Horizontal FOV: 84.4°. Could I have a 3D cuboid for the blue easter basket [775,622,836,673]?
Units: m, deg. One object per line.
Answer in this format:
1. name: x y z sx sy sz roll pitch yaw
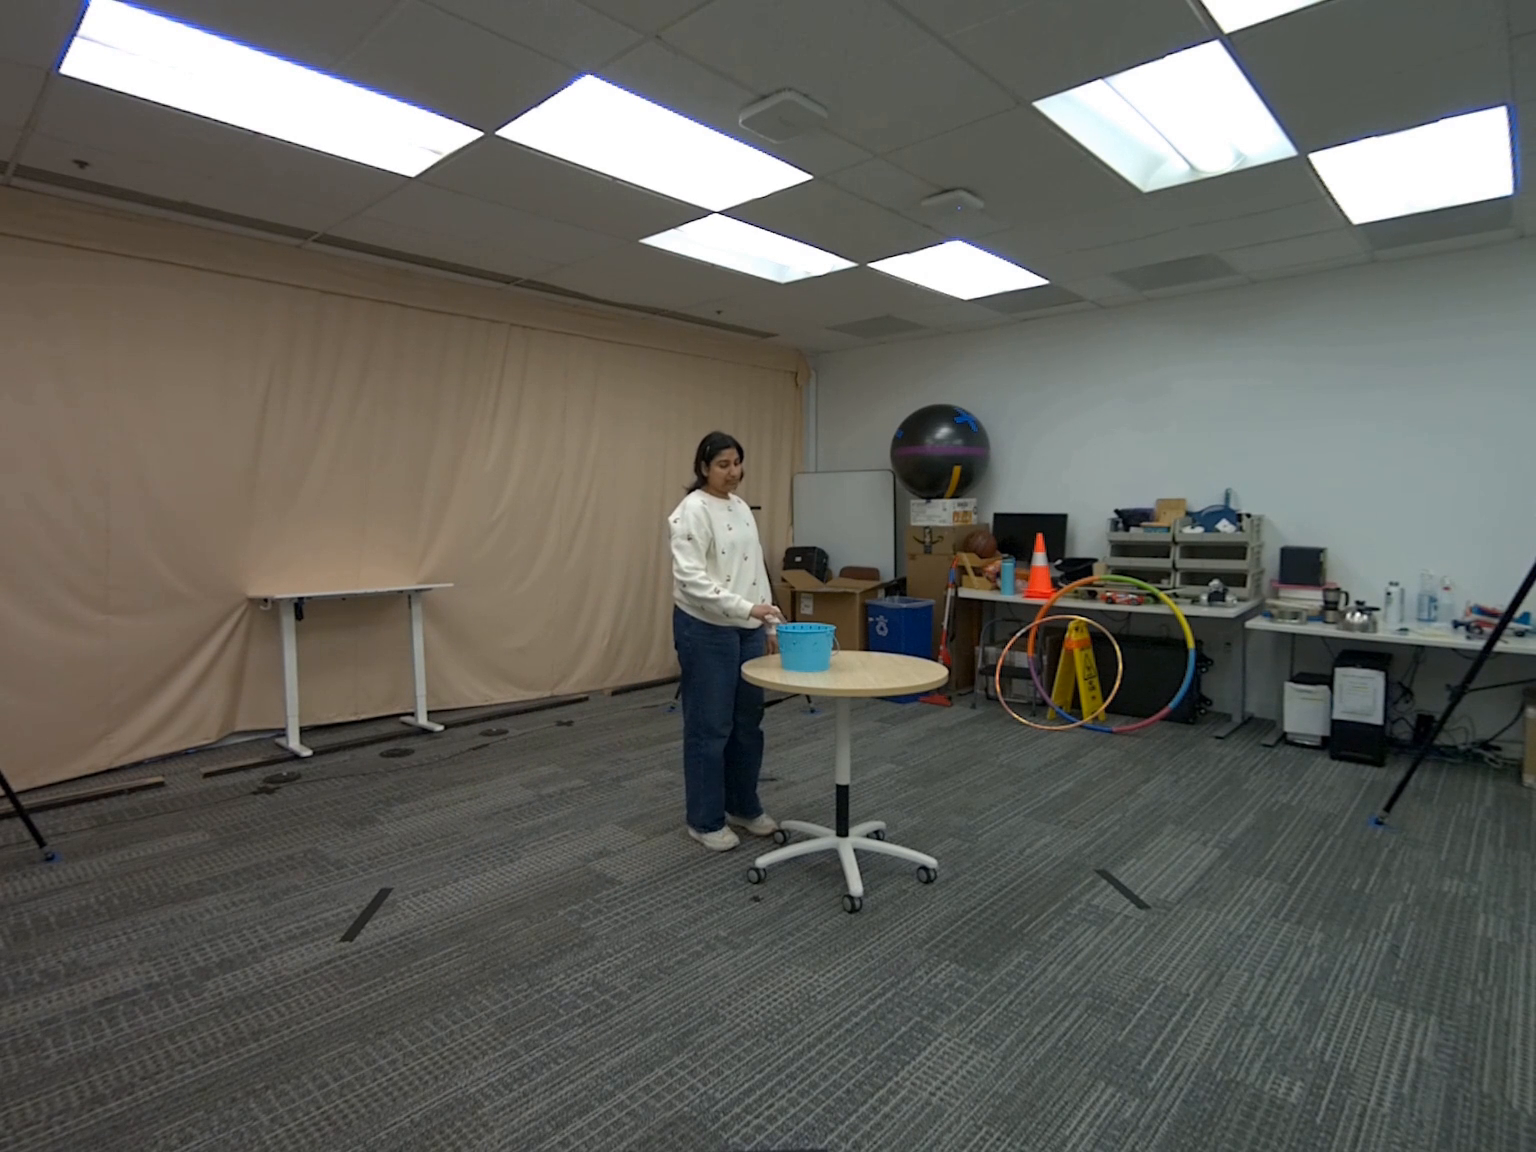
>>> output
1. blue easter basket: 0.157 0.273 3.177 0.243 0.155 0.244 -1 4 -2
